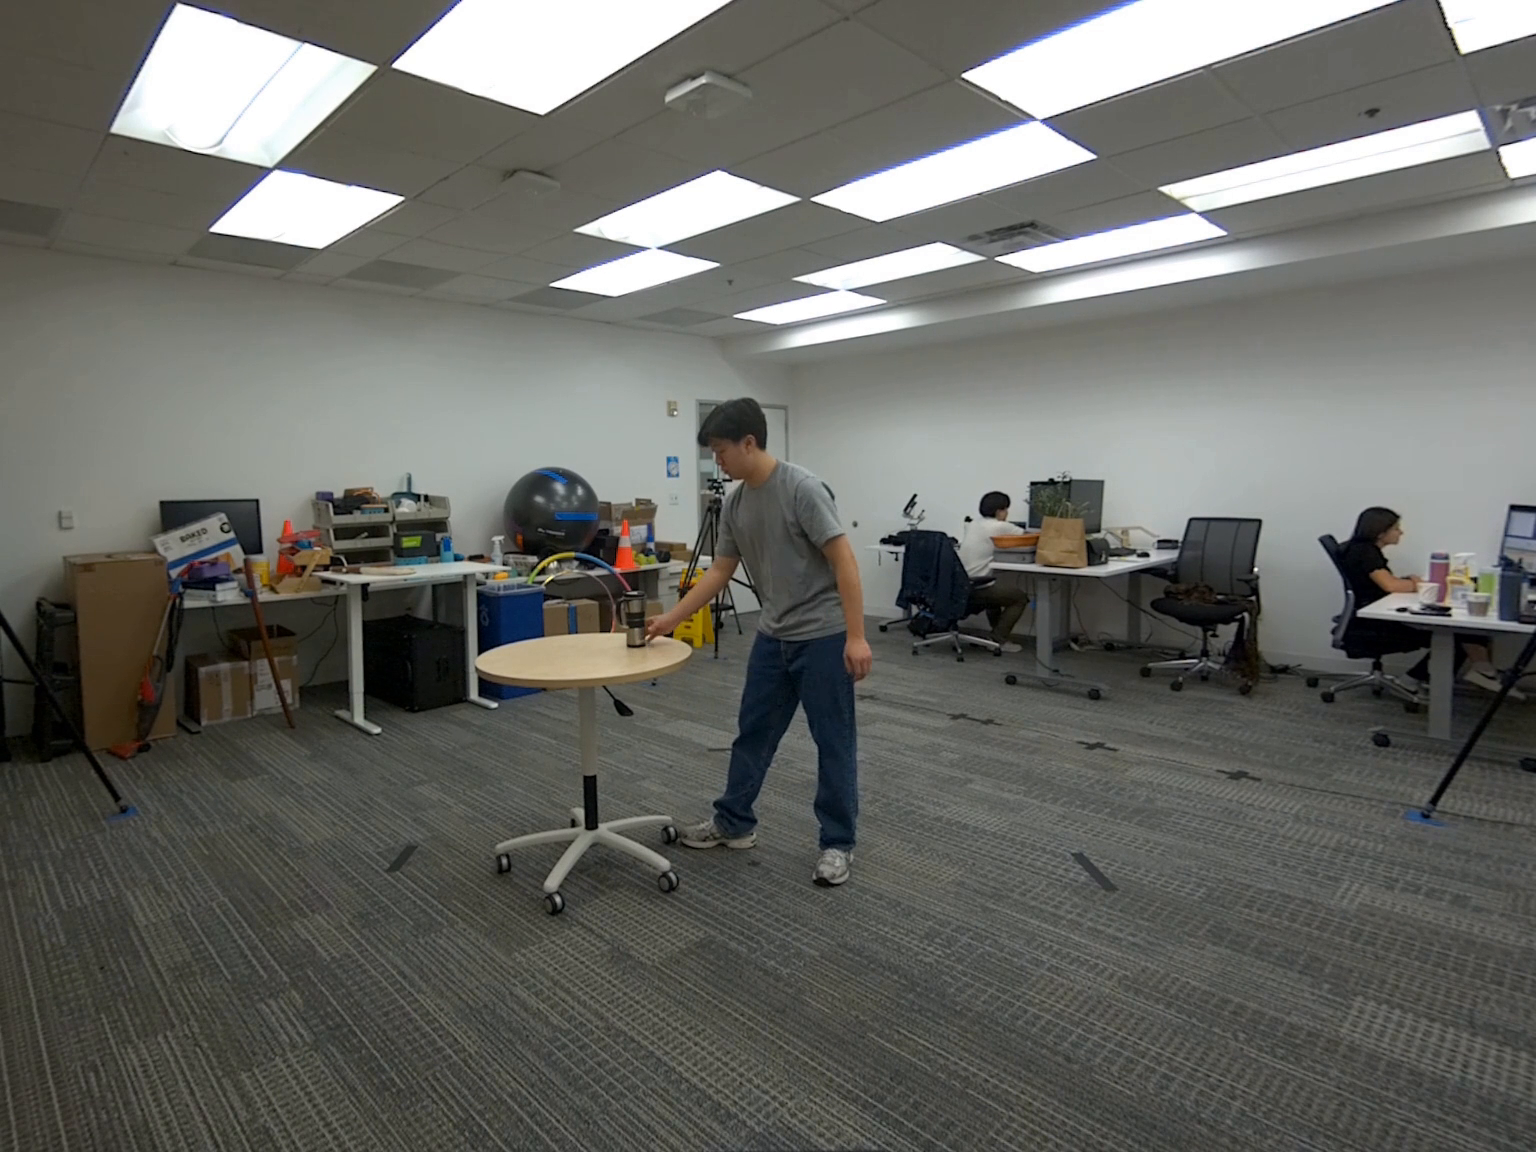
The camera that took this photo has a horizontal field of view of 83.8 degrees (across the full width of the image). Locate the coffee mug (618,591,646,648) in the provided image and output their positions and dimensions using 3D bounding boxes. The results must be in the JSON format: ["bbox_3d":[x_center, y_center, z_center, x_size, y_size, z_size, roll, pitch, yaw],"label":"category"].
[{"bbox_3d":[-0.511,0.162,3.159,0.120,0.202,0.089,1,7,-13],"label":"coffee mug"}]
